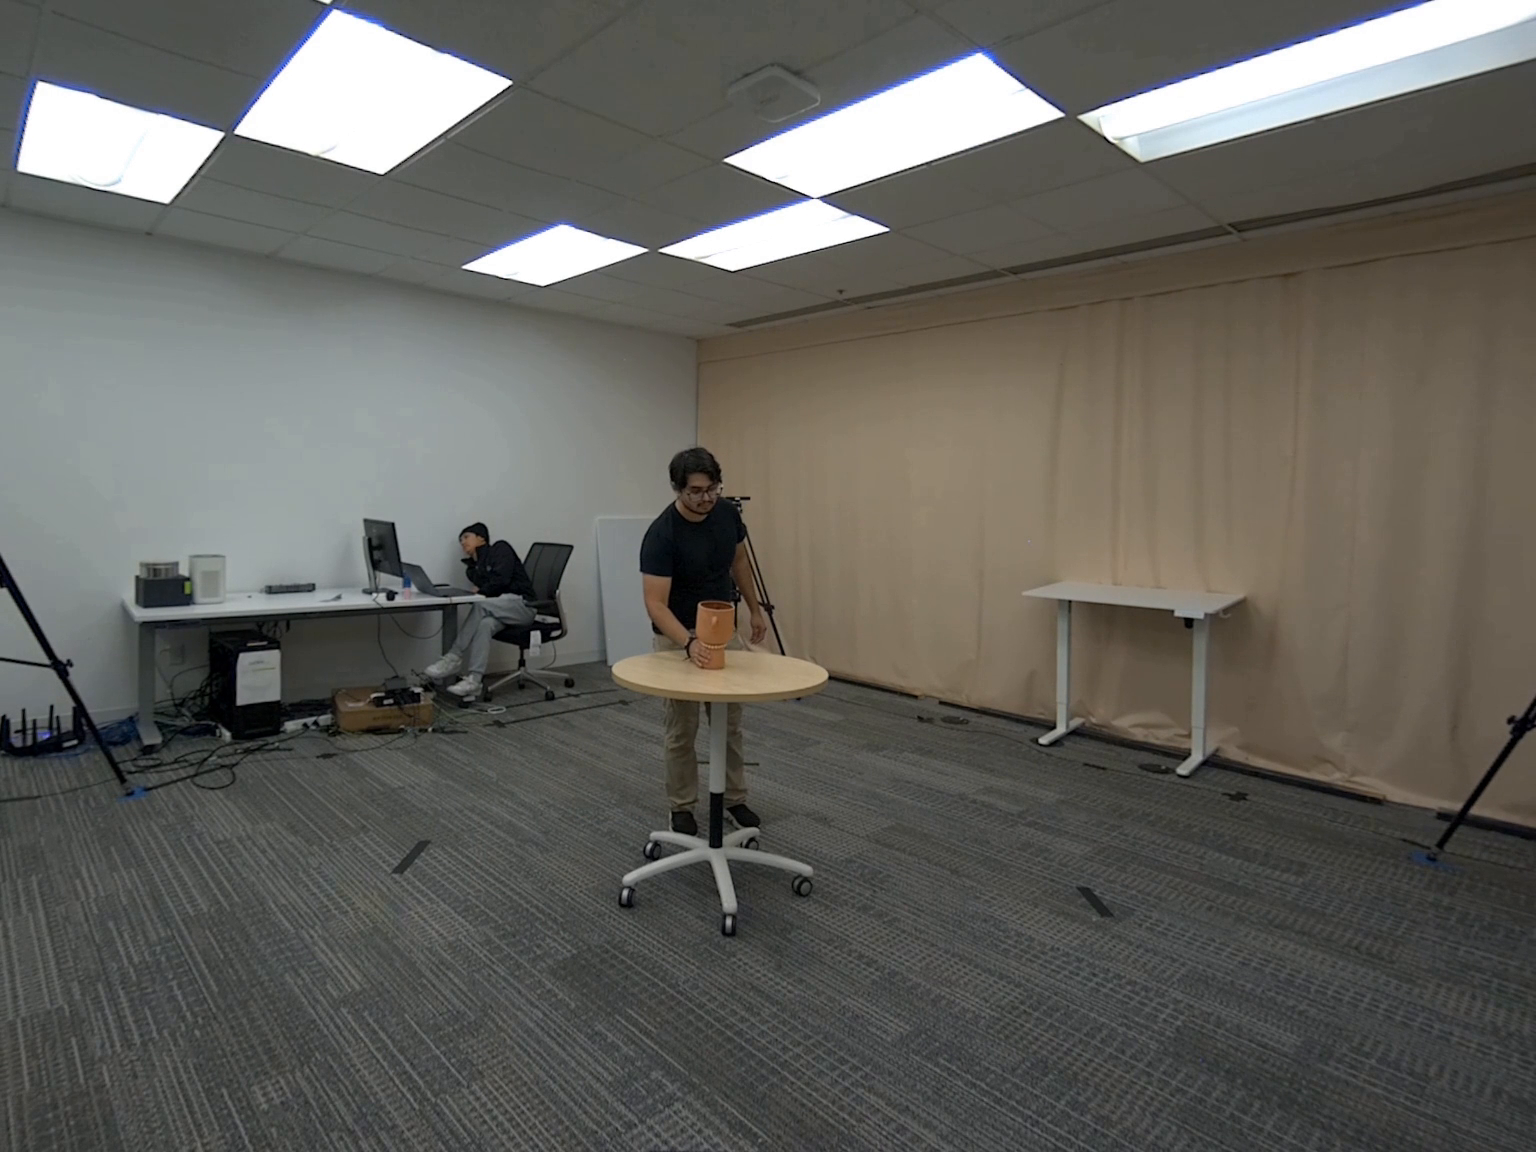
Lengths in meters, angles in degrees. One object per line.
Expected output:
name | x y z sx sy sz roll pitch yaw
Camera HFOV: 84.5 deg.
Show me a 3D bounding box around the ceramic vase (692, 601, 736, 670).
ceramic vase | -0.215 0.212 3.003 0.138 0.218 0.155 14 13 39
